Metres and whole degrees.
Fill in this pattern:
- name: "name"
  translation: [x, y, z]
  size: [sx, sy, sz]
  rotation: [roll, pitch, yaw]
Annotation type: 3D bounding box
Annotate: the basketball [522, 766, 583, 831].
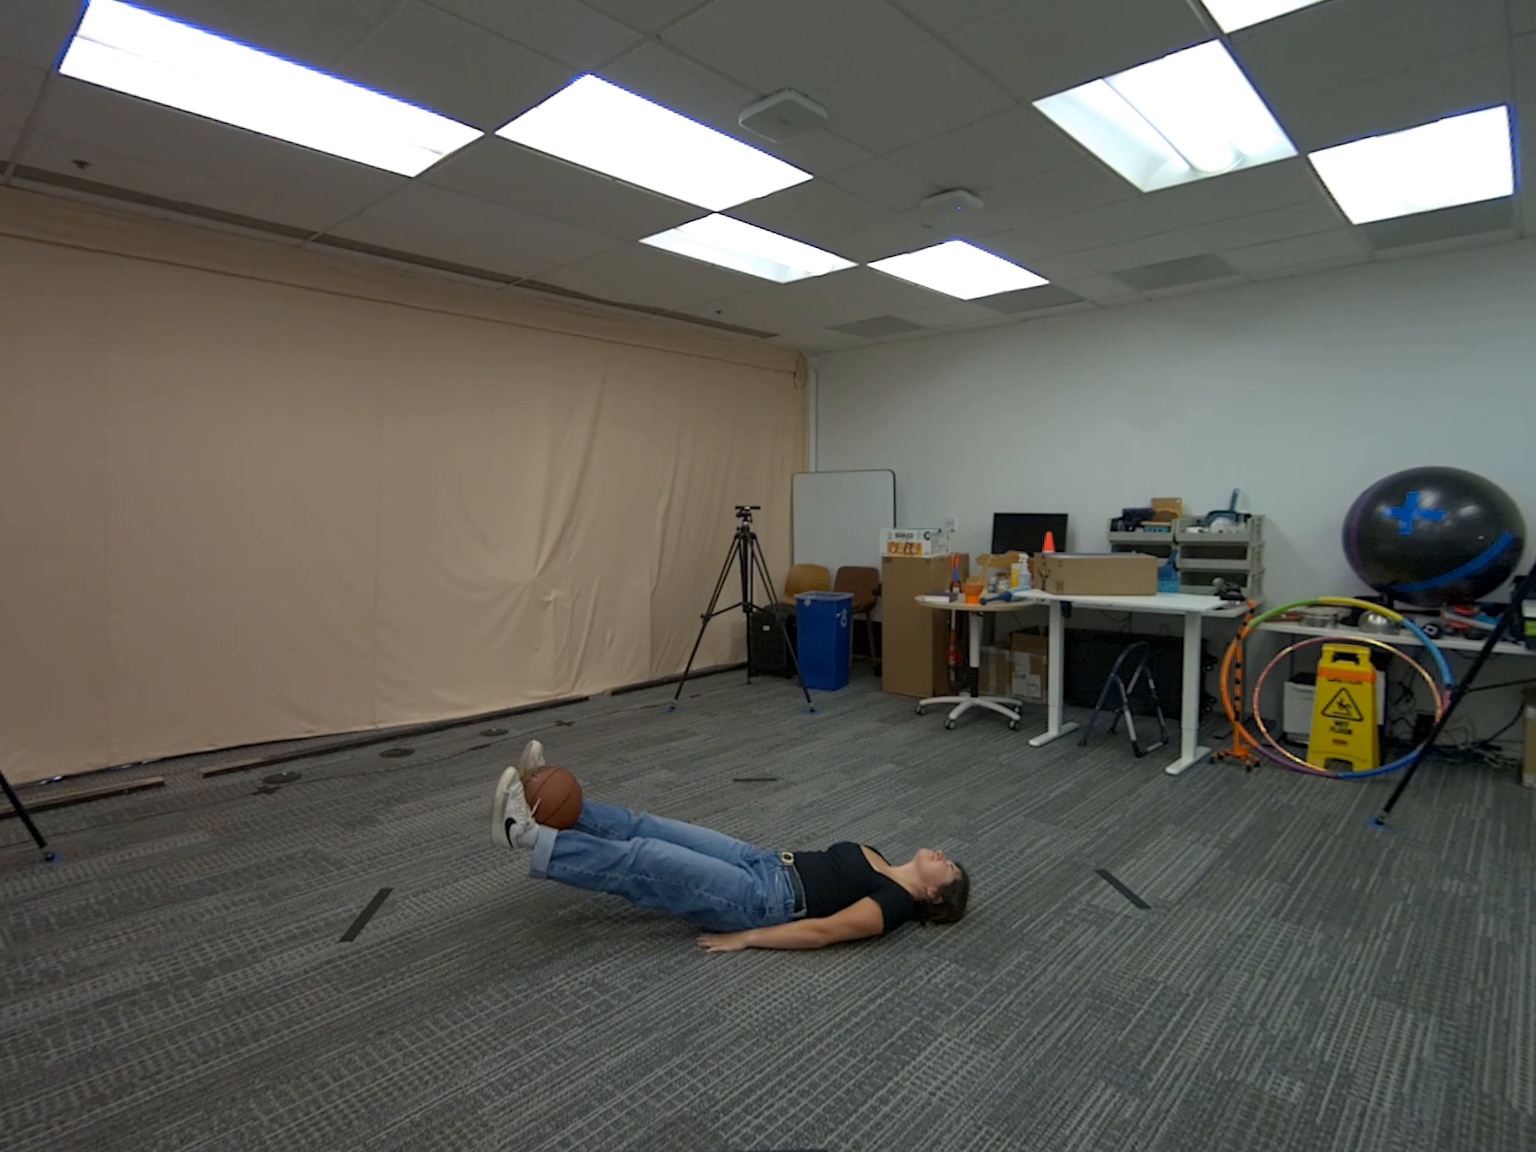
- name: "basketball"
  translation: [-0.729, 0.747, 2.786]
  size: [0.236, 0.235, 0.237]
  rotation: [0, 4, -2]
